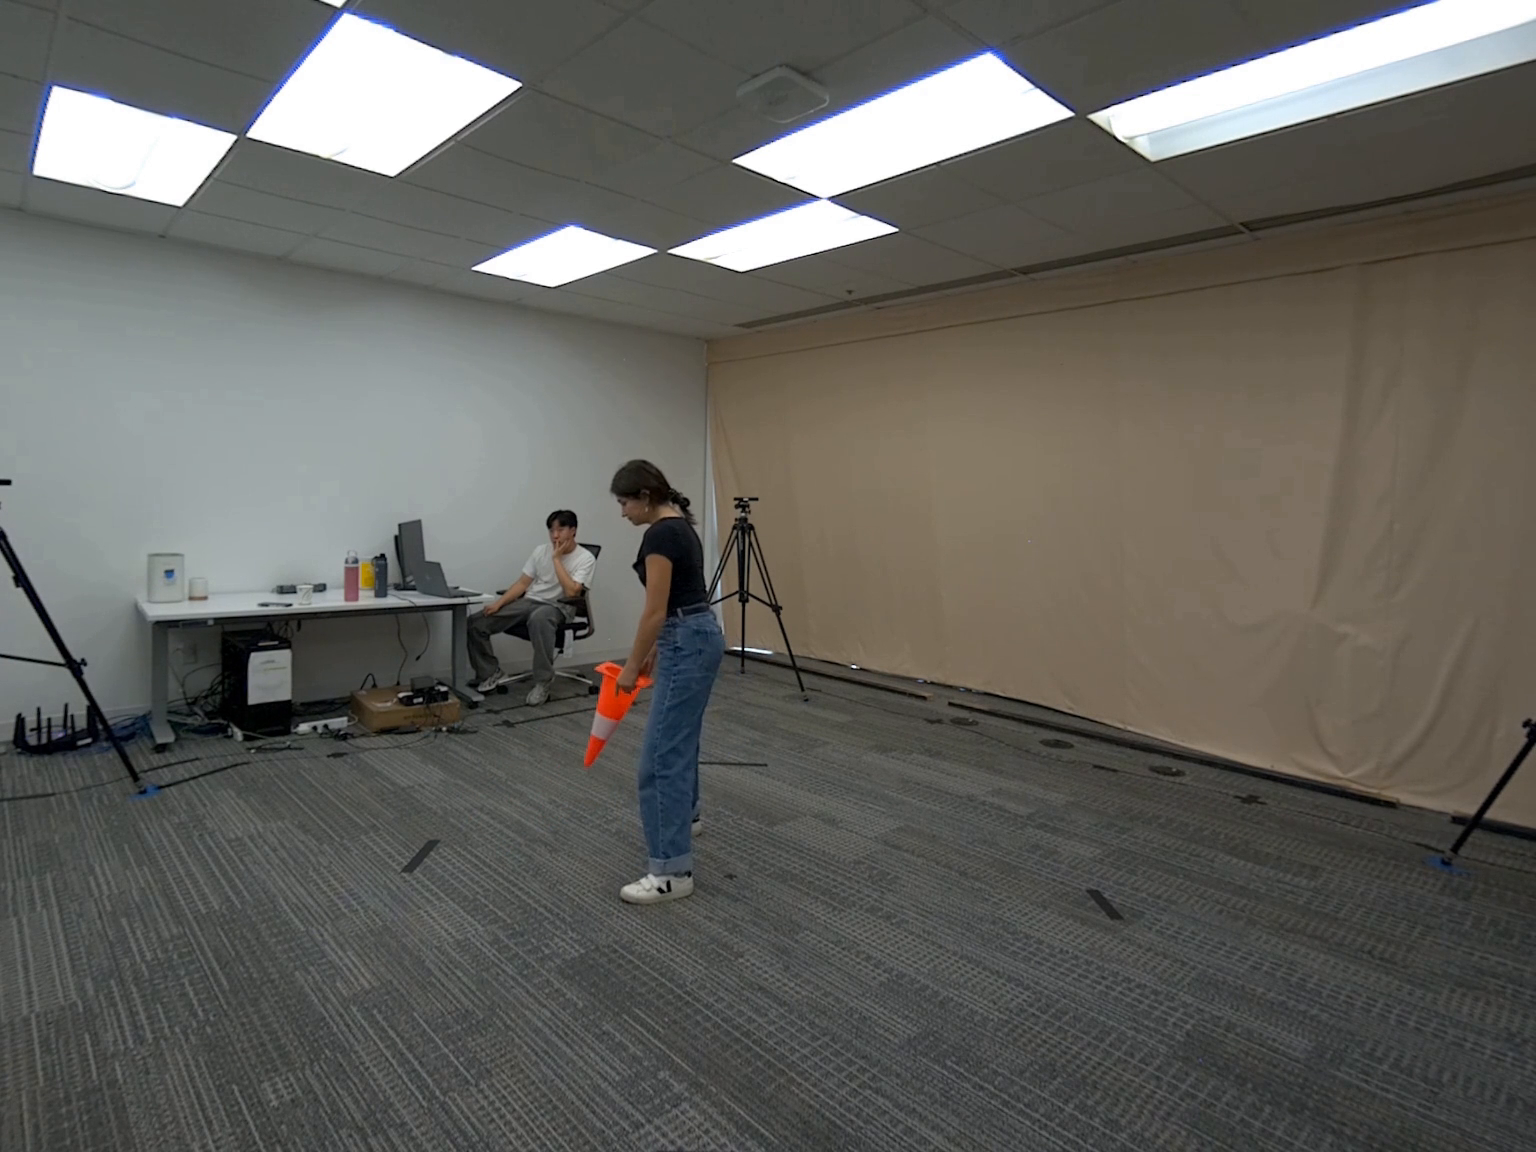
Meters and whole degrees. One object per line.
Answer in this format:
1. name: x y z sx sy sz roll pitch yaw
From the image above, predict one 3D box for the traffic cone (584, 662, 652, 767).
1. traffic cone: -0.636 0.567 3.236 0.207 0.384 0.201 24 0 8
